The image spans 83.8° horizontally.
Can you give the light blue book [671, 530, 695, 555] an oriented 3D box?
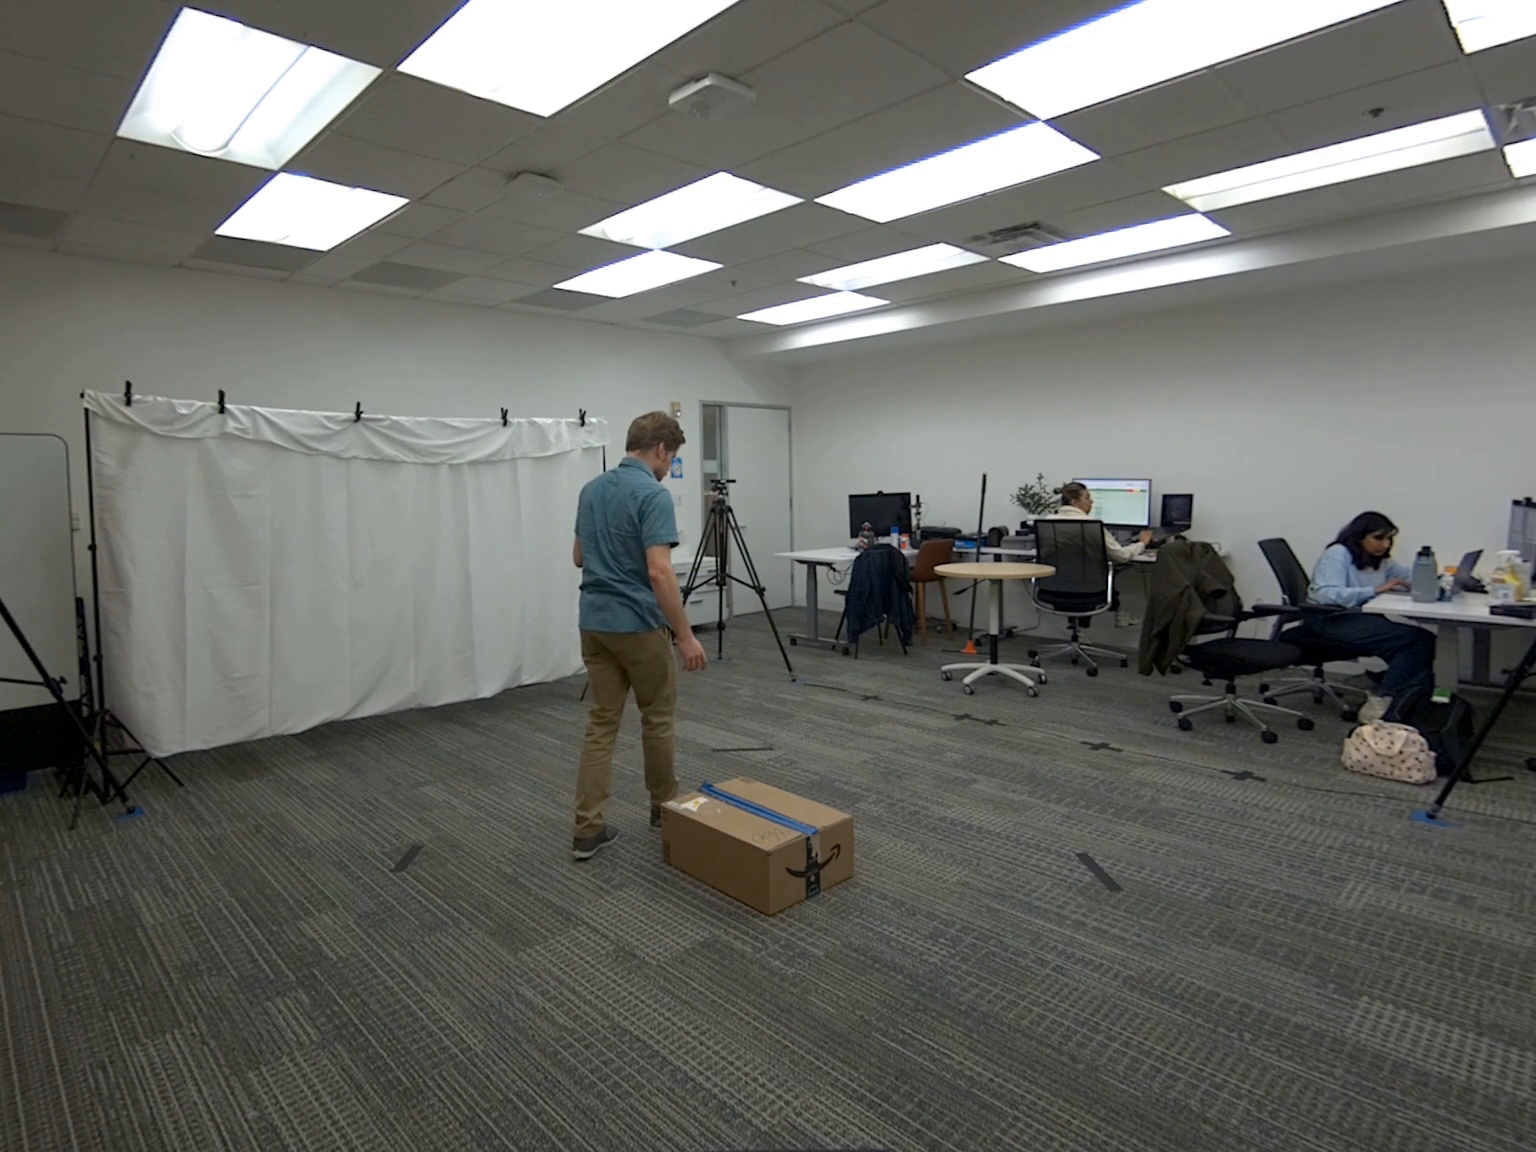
[{"bbox_3d":[-0.441,-0.128,3.677,0.190,0.058,0.265,-29,10,-13],"label":"light blue book"}]
